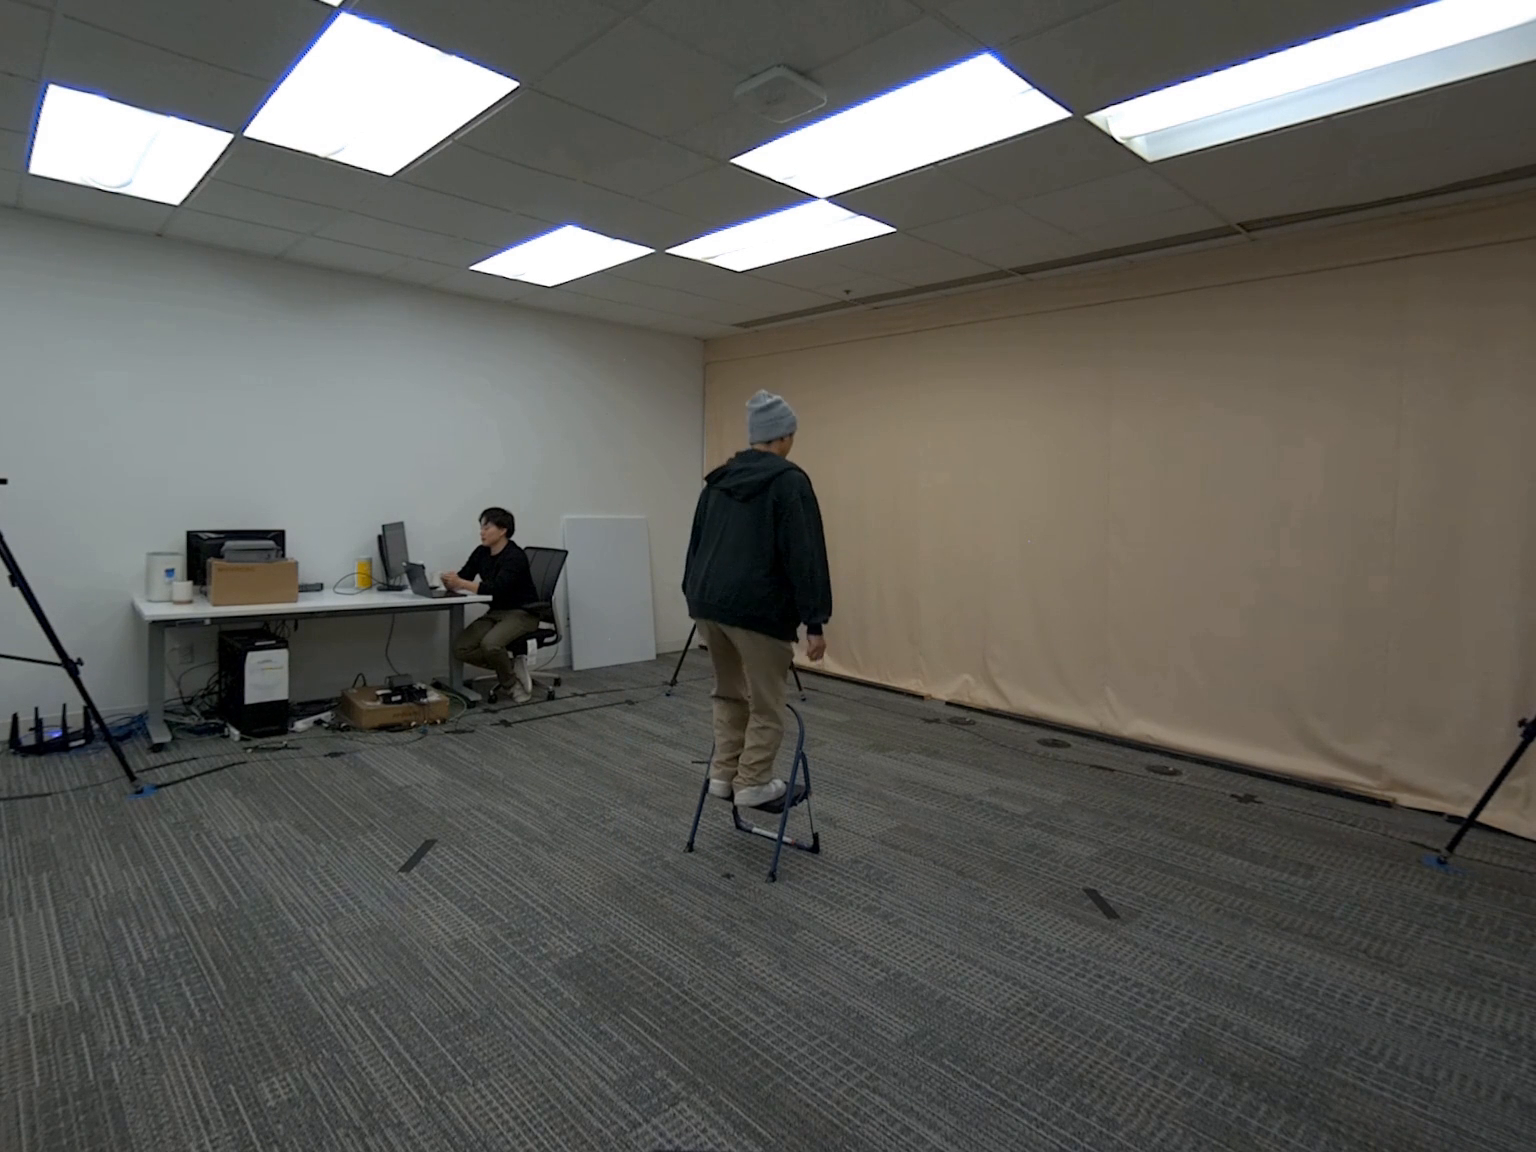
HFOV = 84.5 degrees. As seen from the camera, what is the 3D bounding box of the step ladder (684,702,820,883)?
[{"bbox_3d":[-0.053,0.791,3.308,0.441,0.605,0.341,4,4,36],"label":"step ladder"}]
